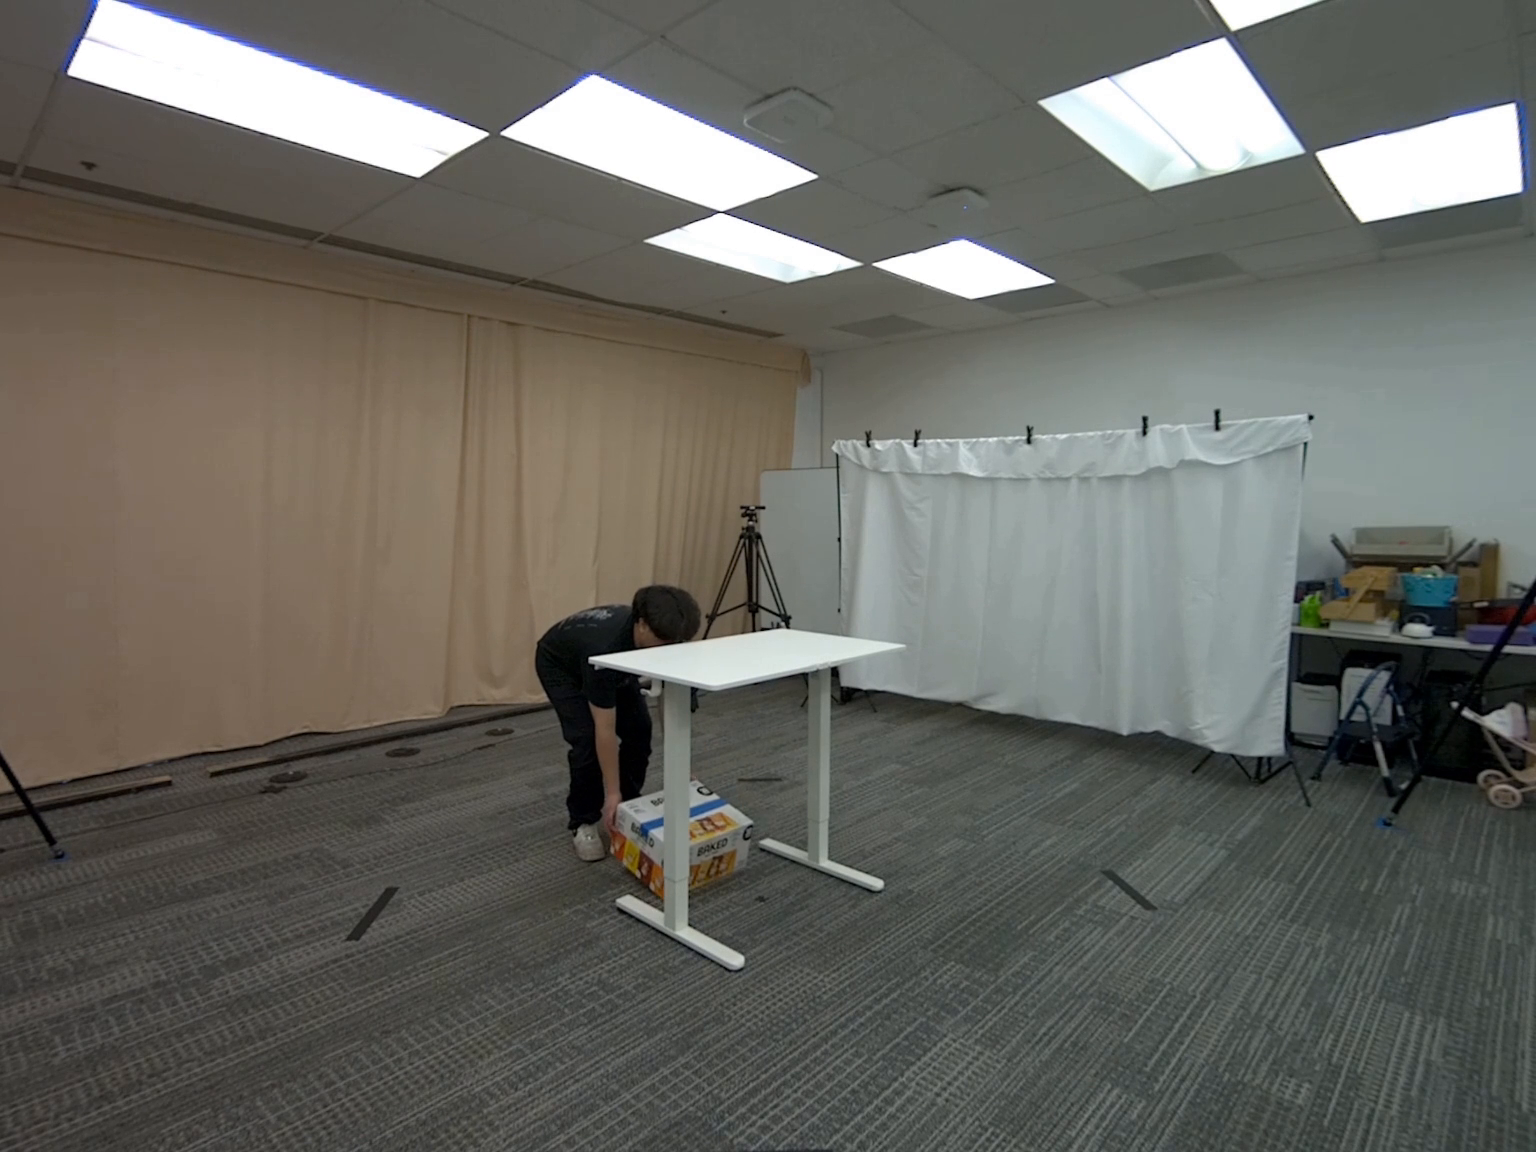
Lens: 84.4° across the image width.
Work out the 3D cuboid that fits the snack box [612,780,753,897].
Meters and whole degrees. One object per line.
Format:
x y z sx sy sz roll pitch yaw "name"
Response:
-0.324 0.994 3.200 0.393 0.204 0.353 -5 21 -45 "snack box"
